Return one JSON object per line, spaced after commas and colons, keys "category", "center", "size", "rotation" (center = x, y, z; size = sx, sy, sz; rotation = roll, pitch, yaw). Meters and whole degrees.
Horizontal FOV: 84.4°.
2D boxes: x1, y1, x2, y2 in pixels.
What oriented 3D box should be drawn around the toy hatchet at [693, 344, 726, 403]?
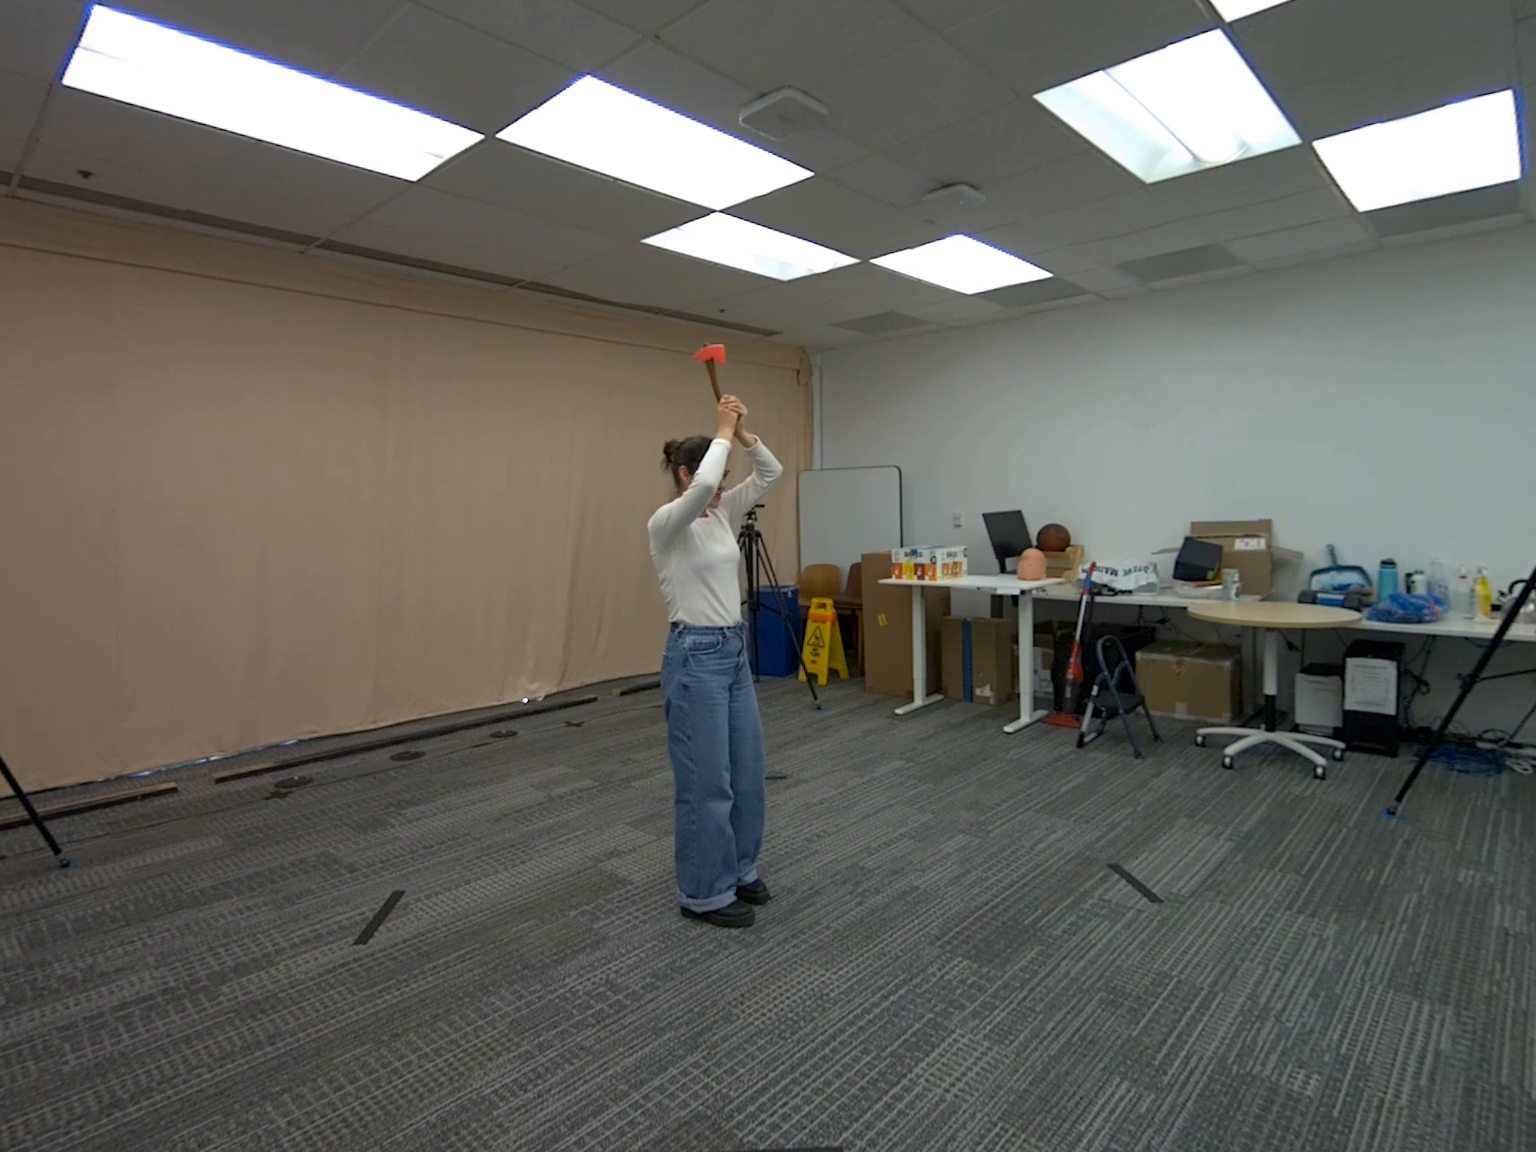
{"category": "toy hatchet", "center": [-0.133, -0.632, 2.710], "size": [0.133, 0.272, 0.029], "rotation": [-33, -7, 39]}
